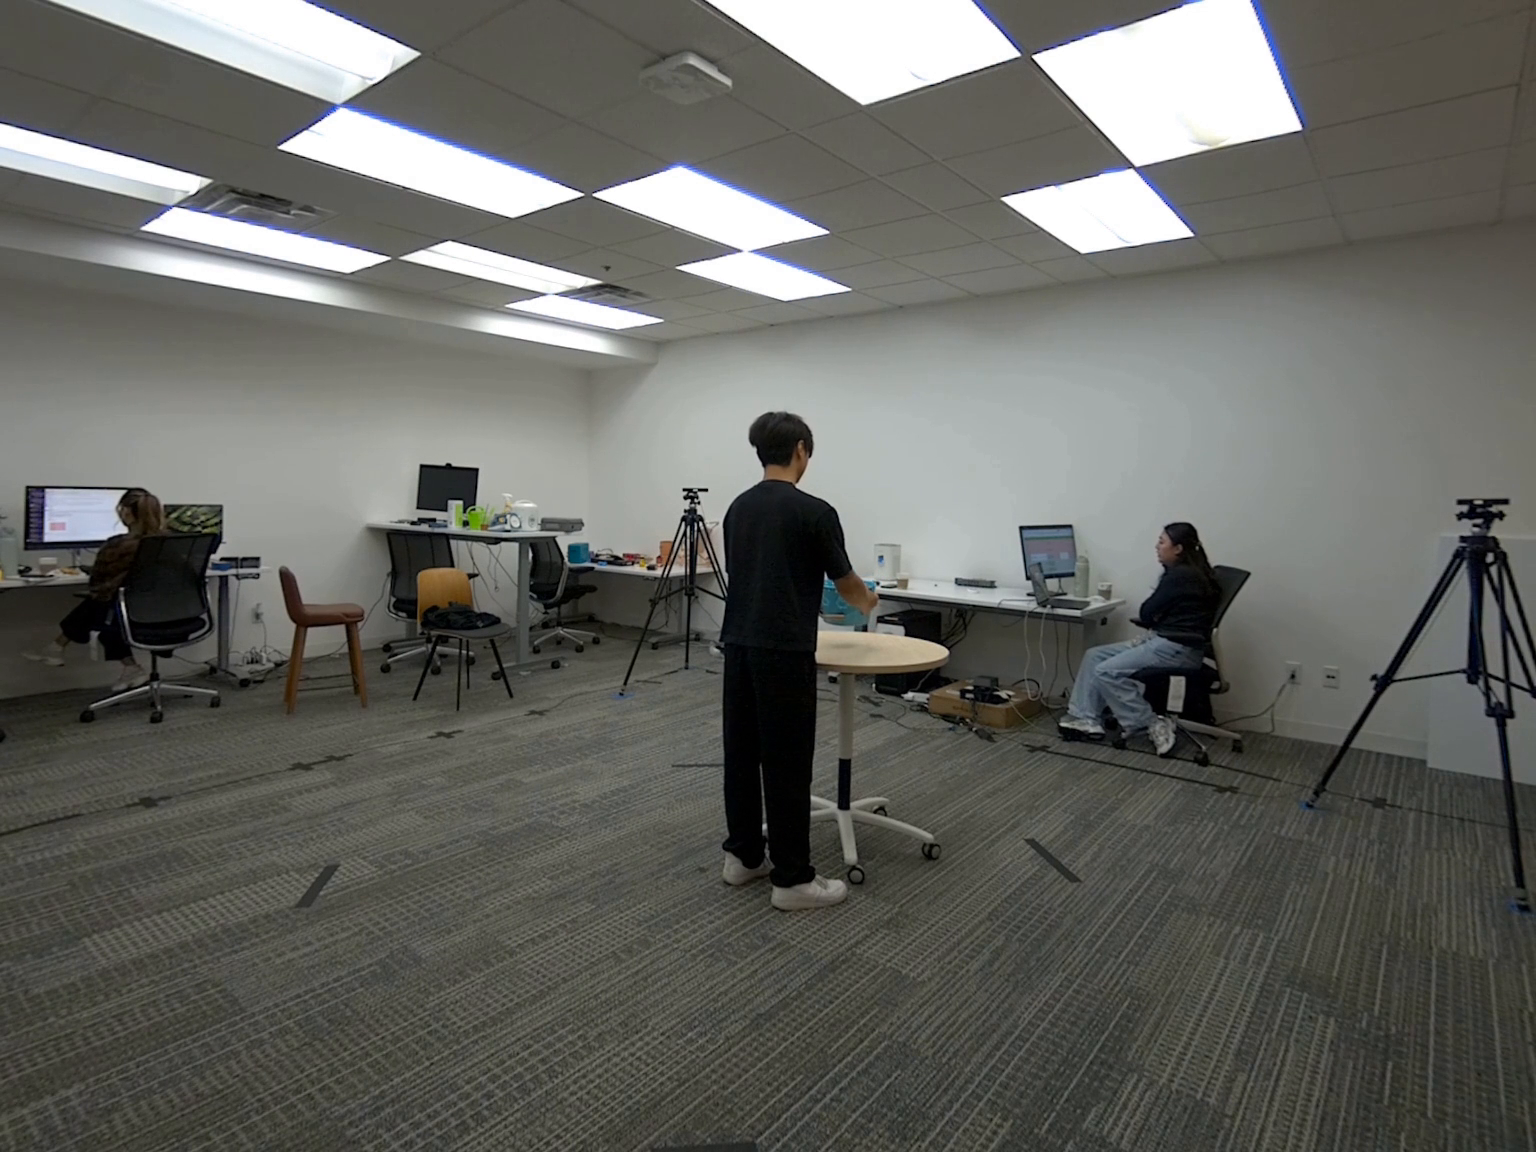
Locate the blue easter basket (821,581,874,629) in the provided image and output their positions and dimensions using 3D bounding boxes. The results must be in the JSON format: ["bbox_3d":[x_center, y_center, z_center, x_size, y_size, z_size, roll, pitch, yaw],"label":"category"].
[{"bbox_3d":[0.292,0.106,3.354,0.243,0.155,0.245,1,8,-2],"label":"blue easter basket"}]
